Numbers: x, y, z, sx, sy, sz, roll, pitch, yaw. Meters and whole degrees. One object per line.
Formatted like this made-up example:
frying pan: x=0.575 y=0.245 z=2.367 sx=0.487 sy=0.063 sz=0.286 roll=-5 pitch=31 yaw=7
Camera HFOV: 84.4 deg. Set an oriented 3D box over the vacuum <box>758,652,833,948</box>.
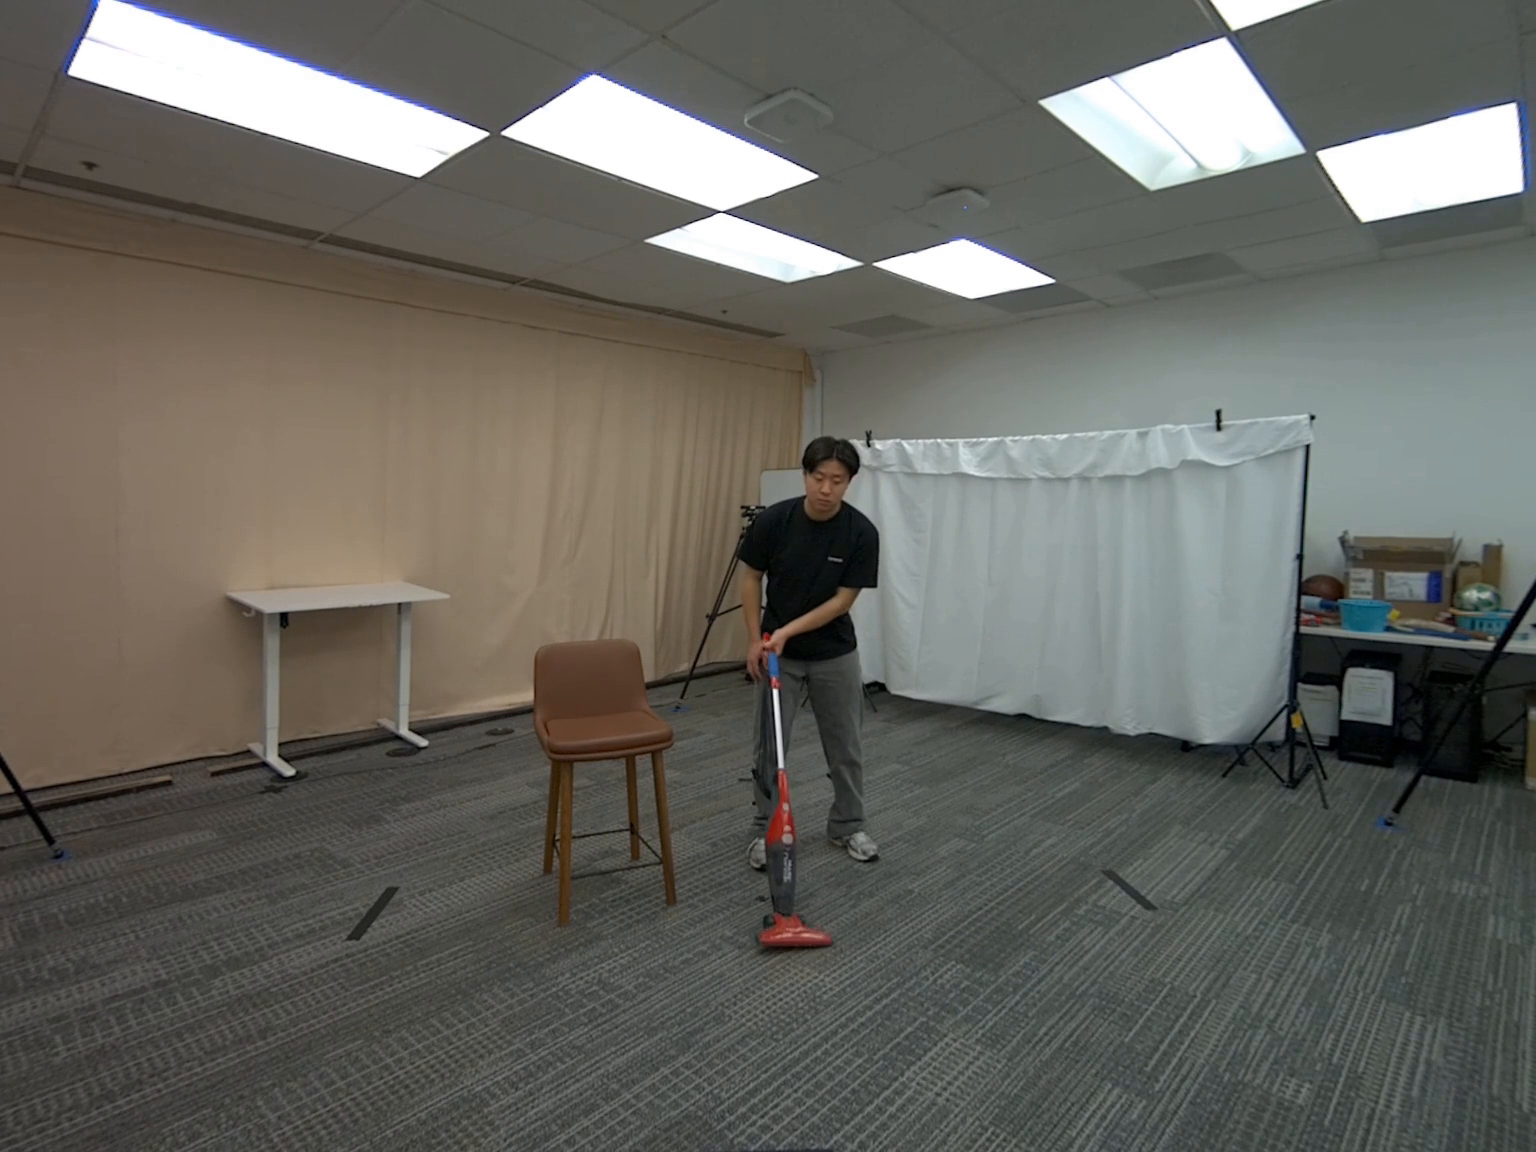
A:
vacuum: x=0.033 y=0.696 z=2.963 sx=0.248 sy=1.069 sz=0.144 roll=6 pitch=-33 yaw=-18
